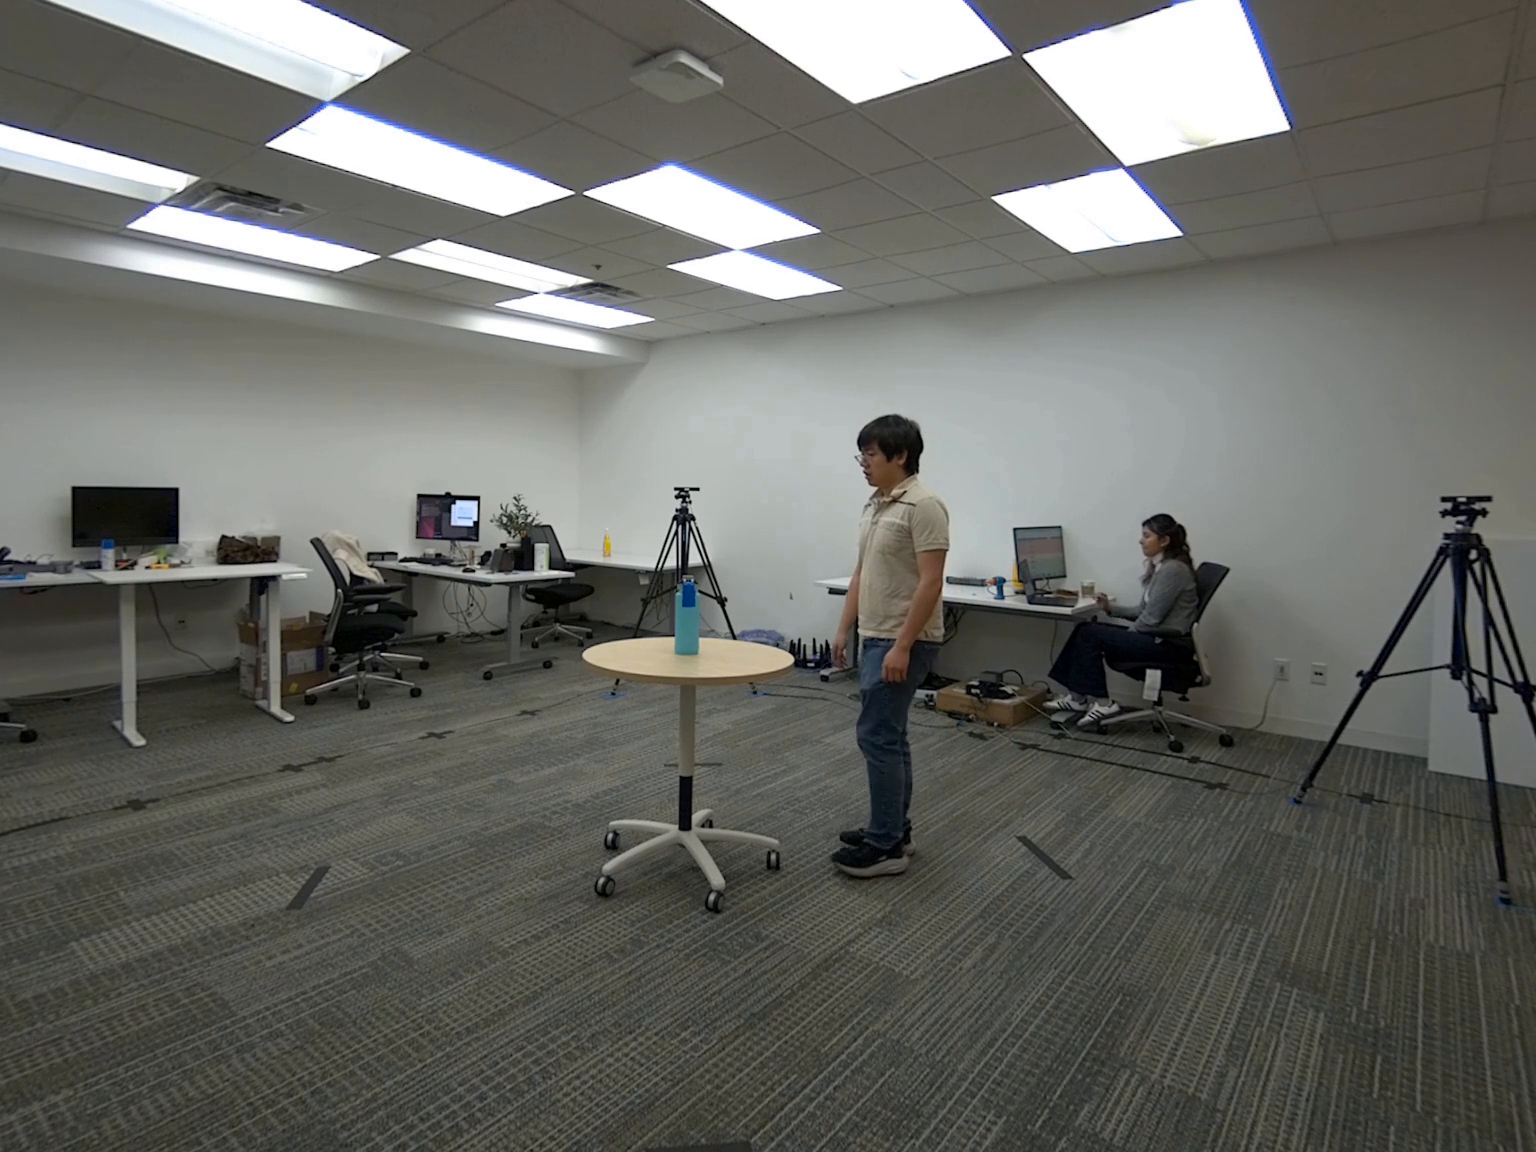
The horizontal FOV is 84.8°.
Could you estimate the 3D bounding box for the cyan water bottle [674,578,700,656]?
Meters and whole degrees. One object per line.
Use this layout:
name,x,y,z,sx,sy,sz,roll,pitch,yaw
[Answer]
cyan water bottle,-0.305,0.141,3.120,0.092,0.282,0.093,3,4,-2
